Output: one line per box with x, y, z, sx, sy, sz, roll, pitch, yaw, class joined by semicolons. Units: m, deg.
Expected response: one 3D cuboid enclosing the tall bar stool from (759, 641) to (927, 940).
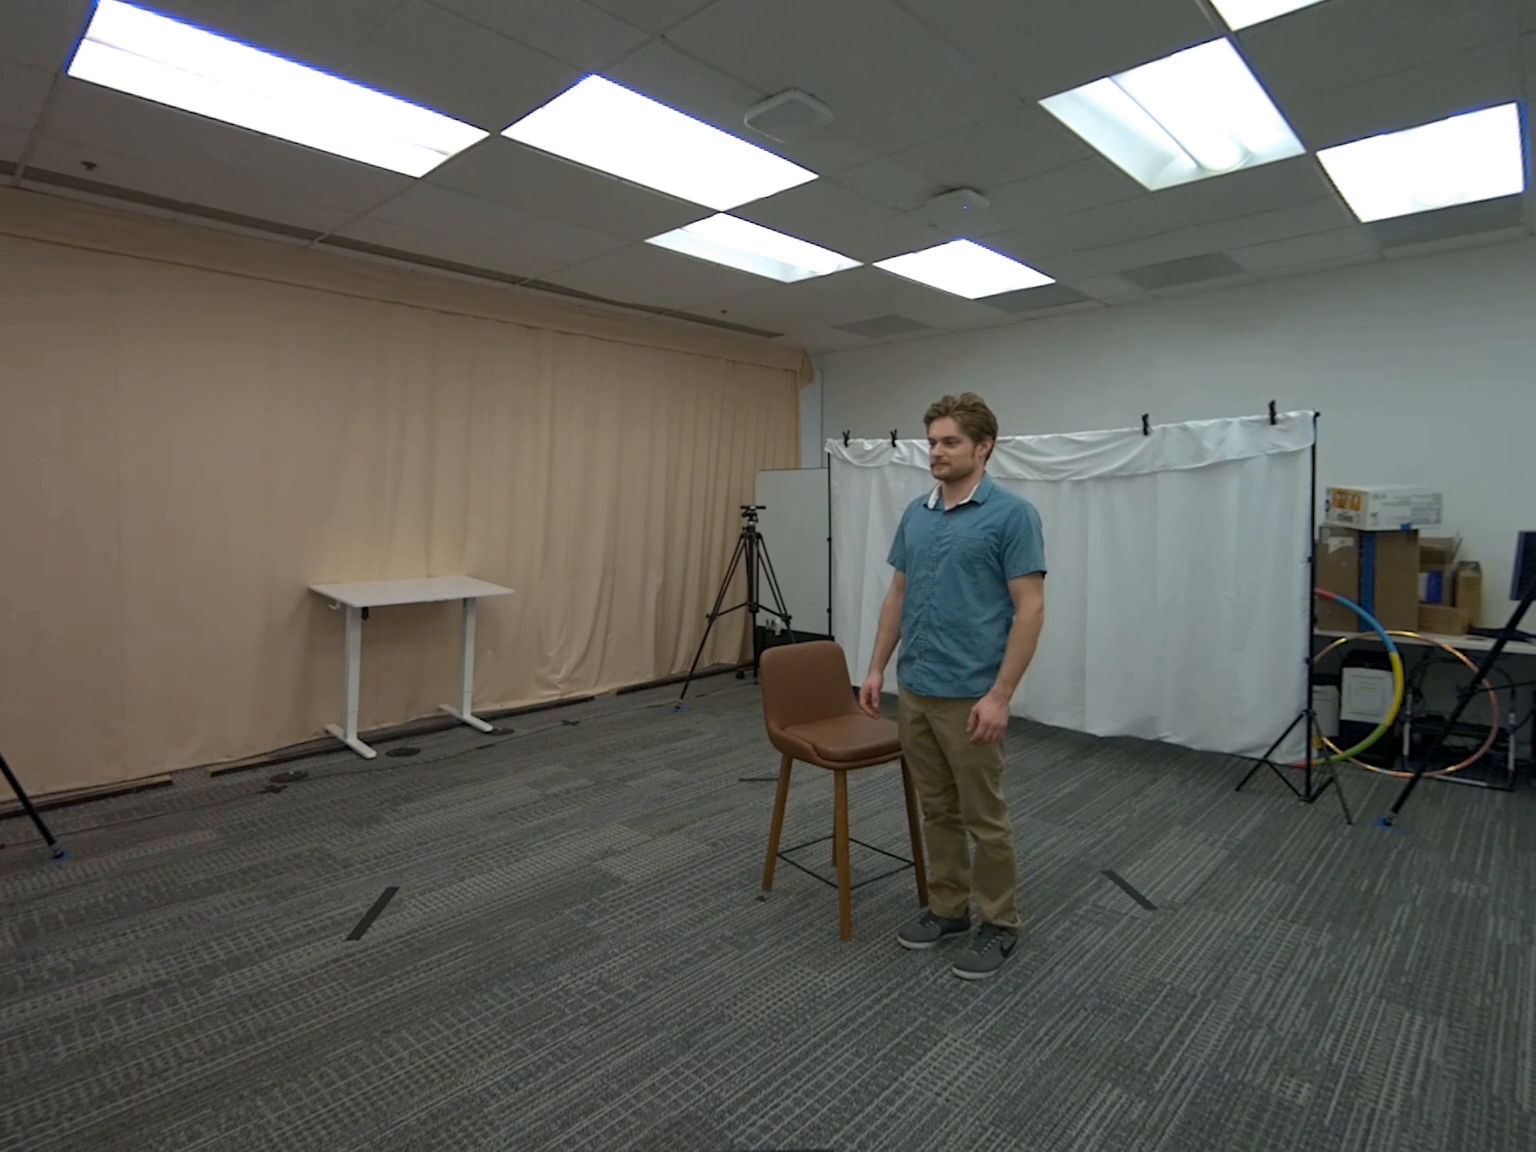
0.257;0.707;2.967;0.443;0.888;0.482;-3;3;-37;tall bar stool
